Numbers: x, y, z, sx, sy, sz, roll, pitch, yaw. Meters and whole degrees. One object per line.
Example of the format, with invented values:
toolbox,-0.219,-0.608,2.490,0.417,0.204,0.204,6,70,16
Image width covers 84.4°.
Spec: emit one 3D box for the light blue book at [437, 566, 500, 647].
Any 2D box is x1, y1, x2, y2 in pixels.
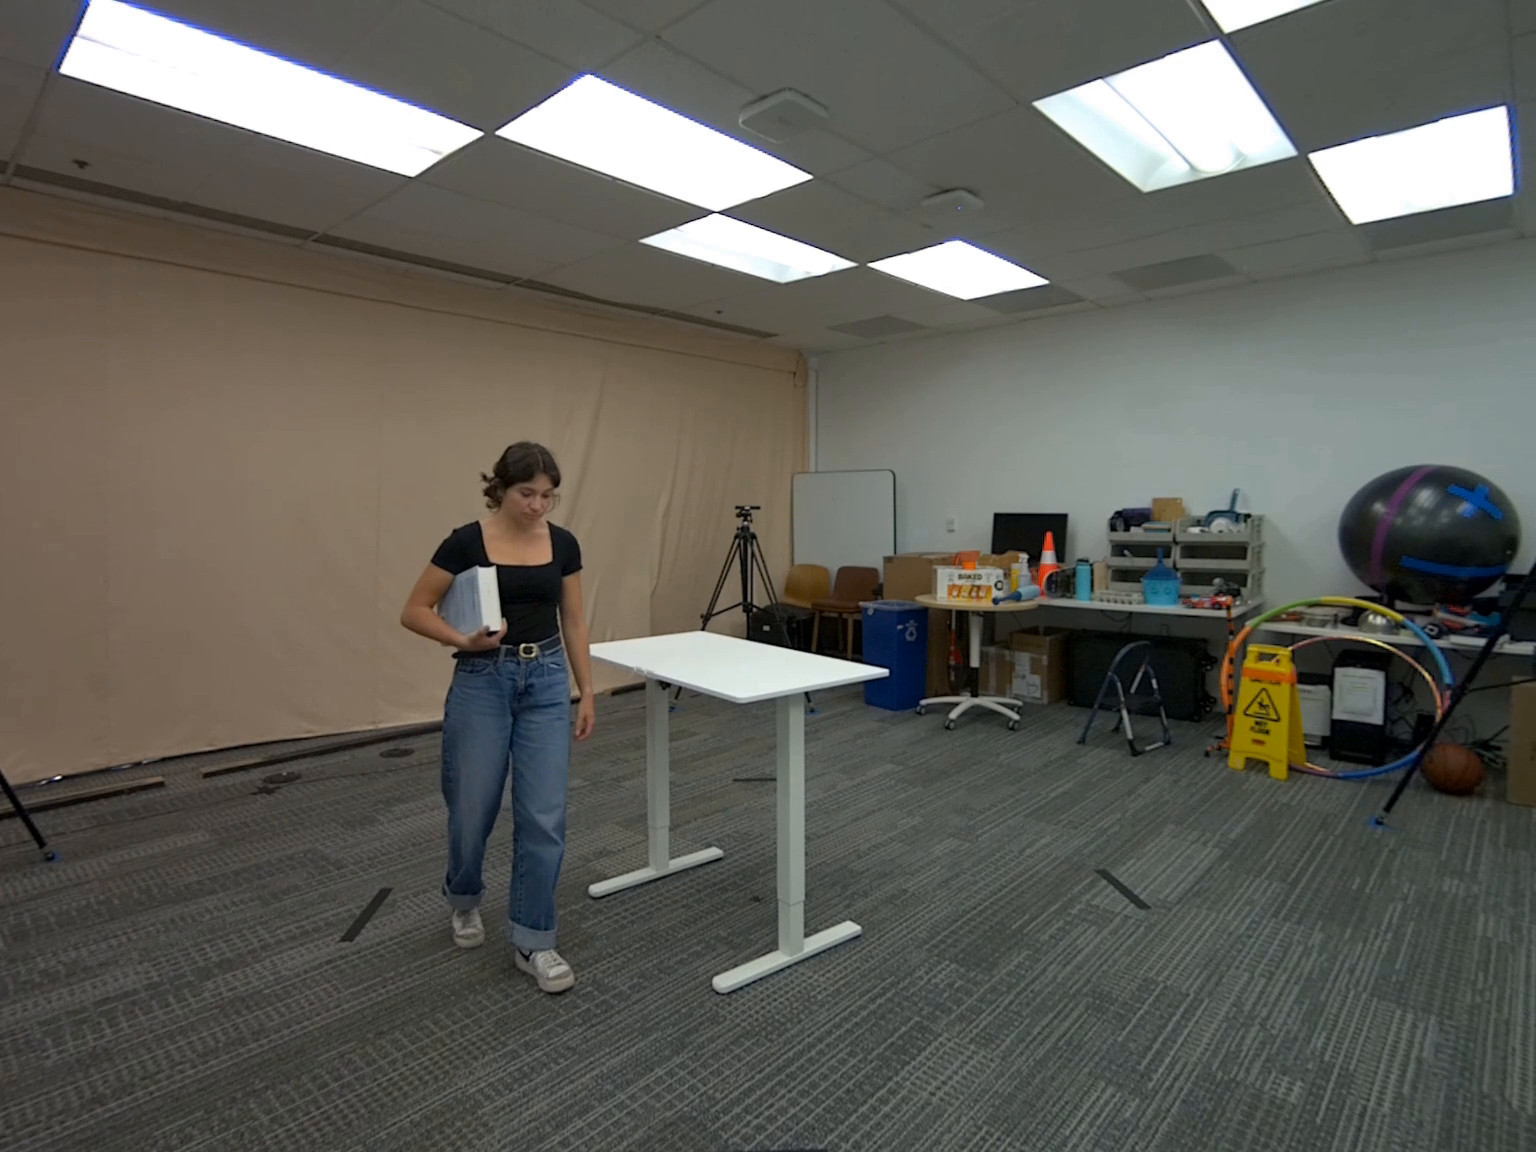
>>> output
light blue book,-0.880,0.089,2.462,0.267,0.193,0.057,-17,-15,43
